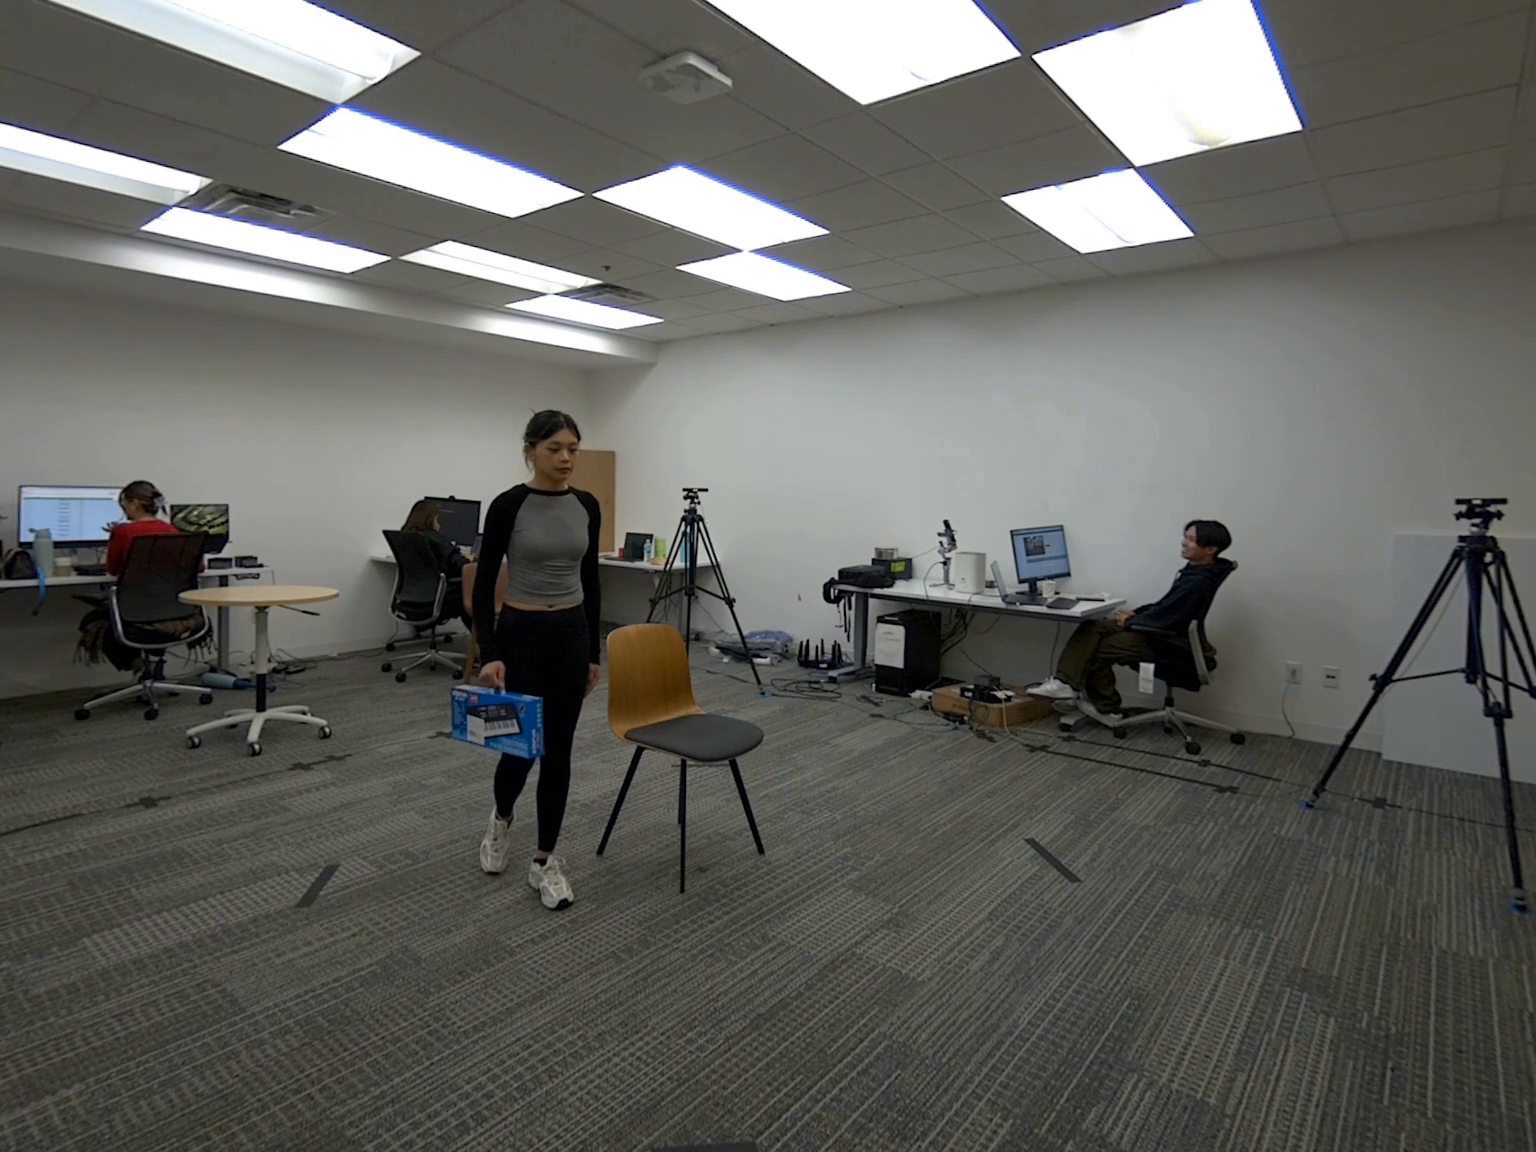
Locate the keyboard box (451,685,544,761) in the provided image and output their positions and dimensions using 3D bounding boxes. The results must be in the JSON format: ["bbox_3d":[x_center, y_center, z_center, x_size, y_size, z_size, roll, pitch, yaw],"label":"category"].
[{"bbox_3d":[-0.874,0.453,2.686,0.451,0.176,0.057,1,1,42],"label":"keyboard box"}]
